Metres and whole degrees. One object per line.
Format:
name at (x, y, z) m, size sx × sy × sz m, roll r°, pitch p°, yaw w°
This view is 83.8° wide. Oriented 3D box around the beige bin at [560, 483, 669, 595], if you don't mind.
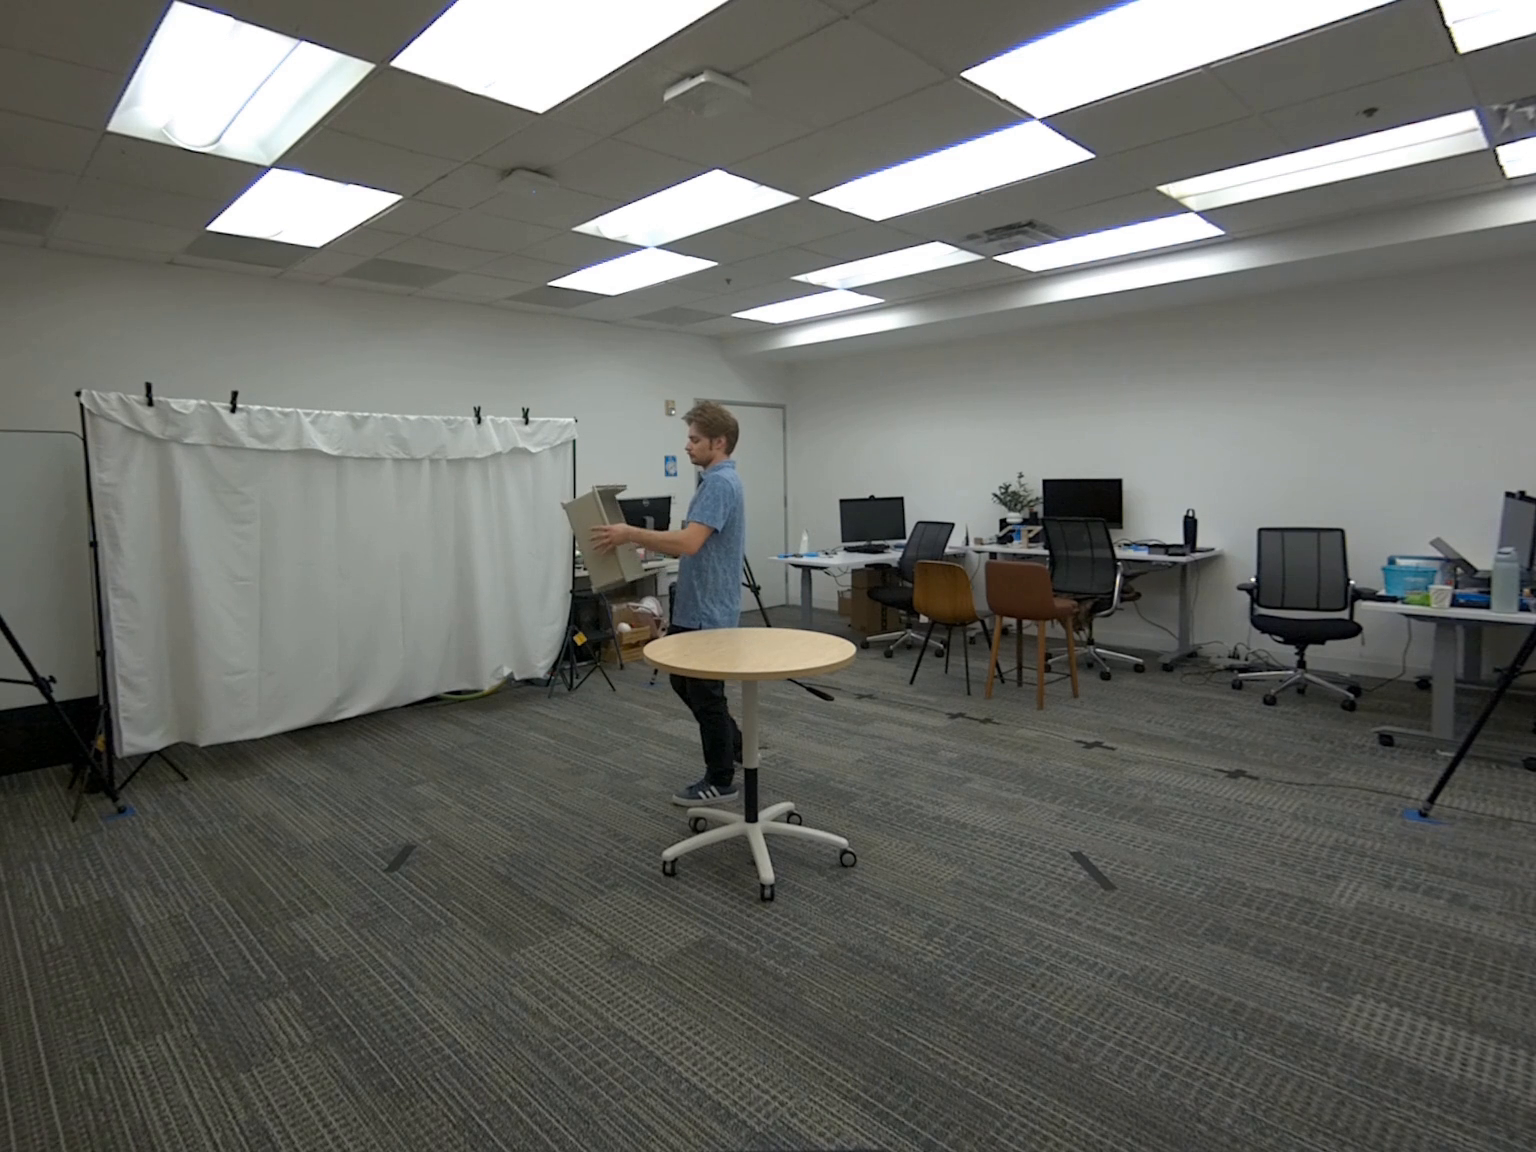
beige bin at (-0.661, -0.172, 3.728) m, size 0.191 × 0.424 × 0.372 m, roll -22°, pitch -3°, yaw 17°
